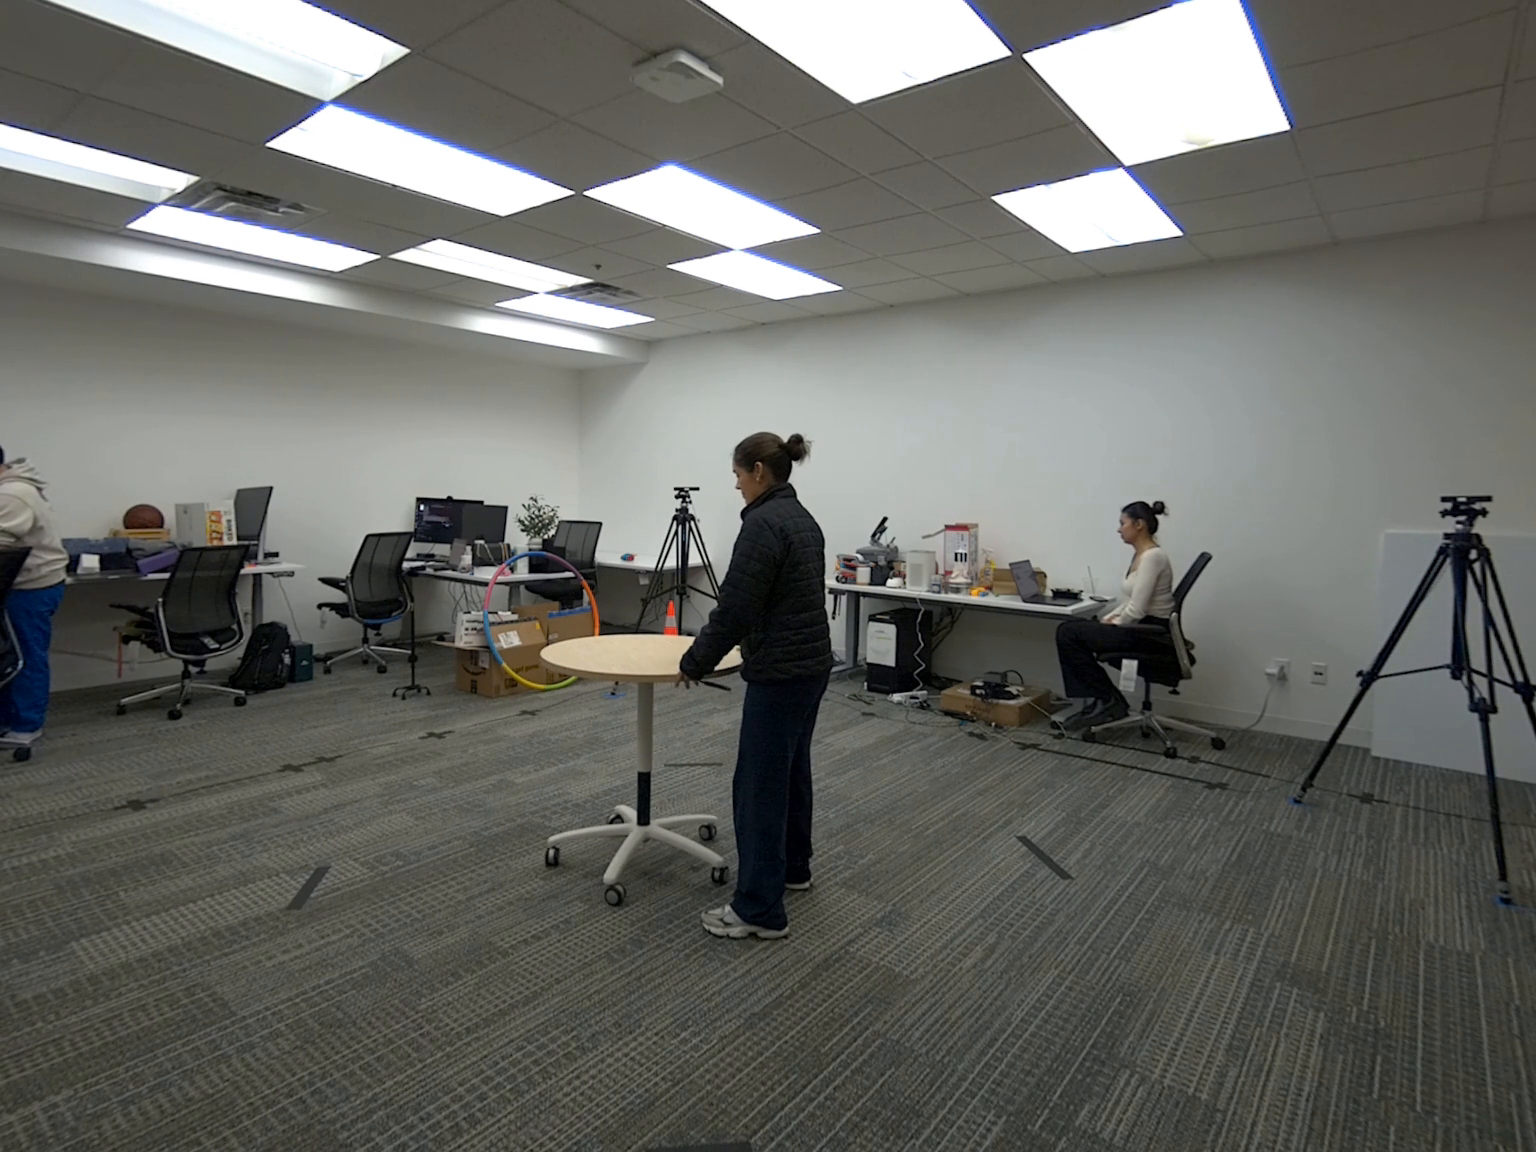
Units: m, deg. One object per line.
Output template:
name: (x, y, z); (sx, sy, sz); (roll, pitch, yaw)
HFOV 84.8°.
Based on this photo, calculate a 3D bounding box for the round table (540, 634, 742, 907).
round table: (-0.434, 0.663, 3.150); (0.784, 0.784, 0.788); (1, 4, -2)
